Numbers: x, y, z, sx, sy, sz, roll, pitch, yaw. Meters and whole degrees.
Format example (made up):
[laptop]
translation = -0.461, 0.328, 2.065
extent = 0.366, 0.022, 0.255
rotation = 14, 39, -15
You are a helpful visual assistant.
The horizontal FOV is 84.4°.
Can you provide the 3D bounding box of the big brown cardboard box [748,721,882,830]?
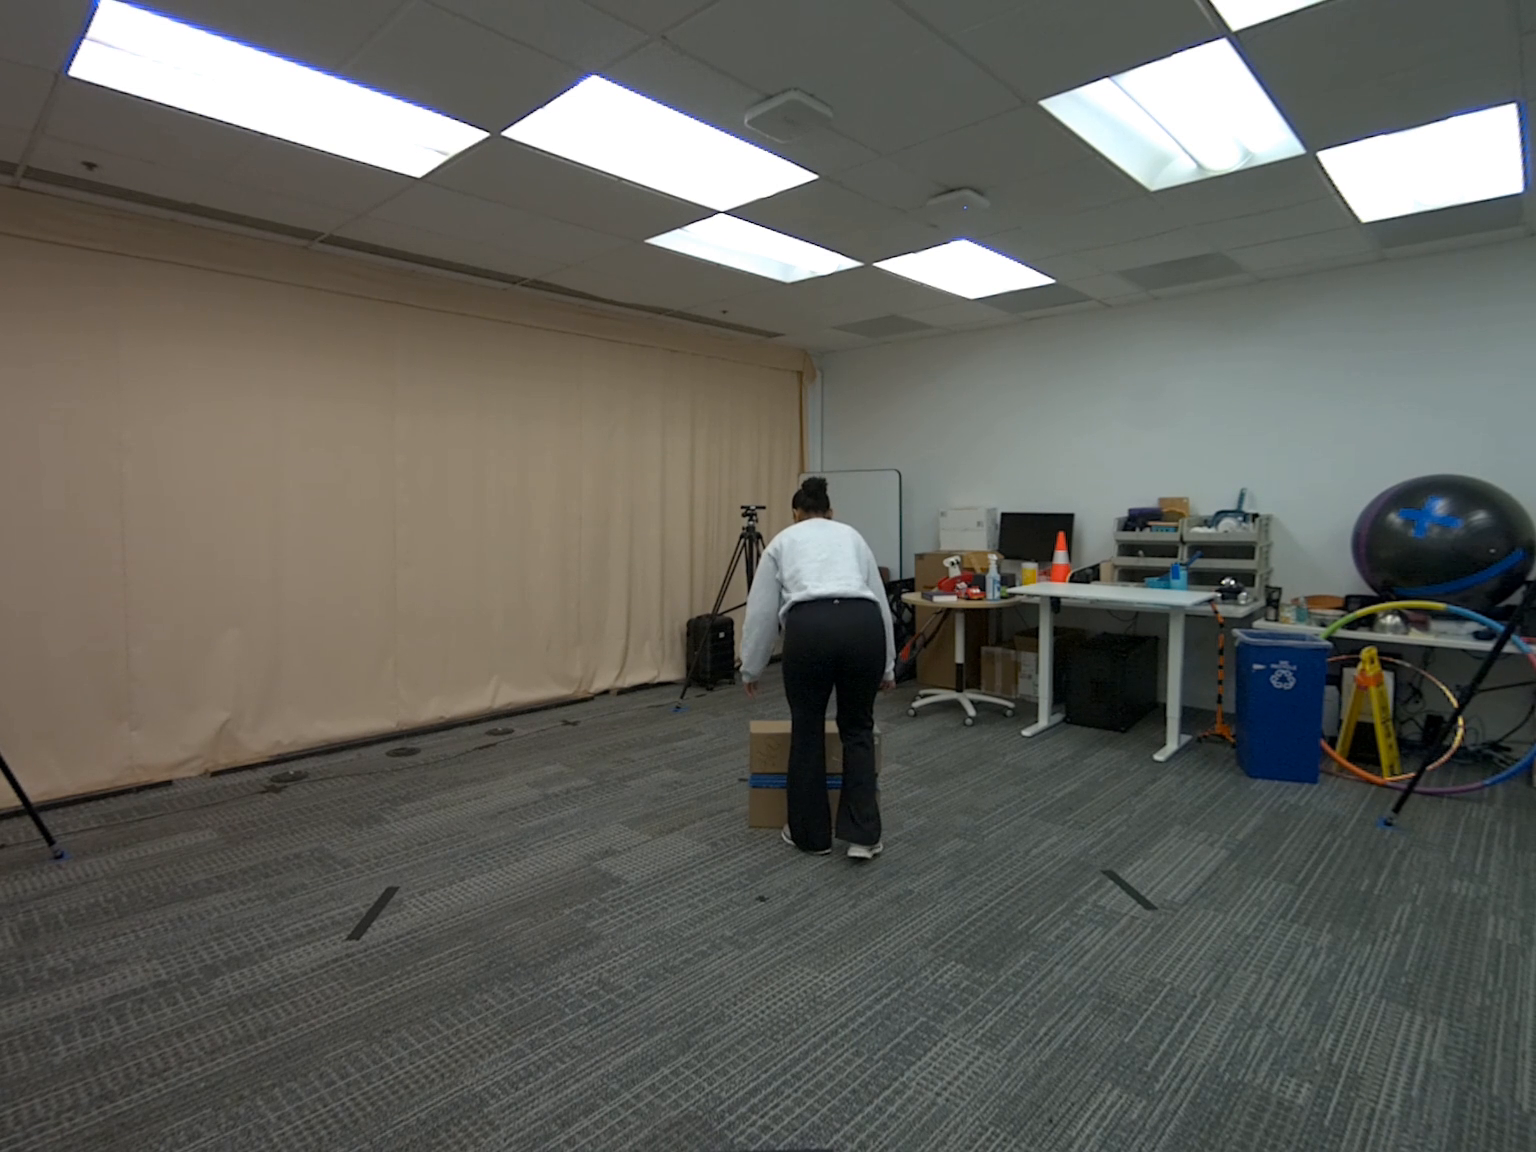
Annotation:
[big brown cardboard box]
translation = 0.205, 0.872, 3.727
extent = 0.591, 0.417, 0.232
rotation = 0, 2, 3
